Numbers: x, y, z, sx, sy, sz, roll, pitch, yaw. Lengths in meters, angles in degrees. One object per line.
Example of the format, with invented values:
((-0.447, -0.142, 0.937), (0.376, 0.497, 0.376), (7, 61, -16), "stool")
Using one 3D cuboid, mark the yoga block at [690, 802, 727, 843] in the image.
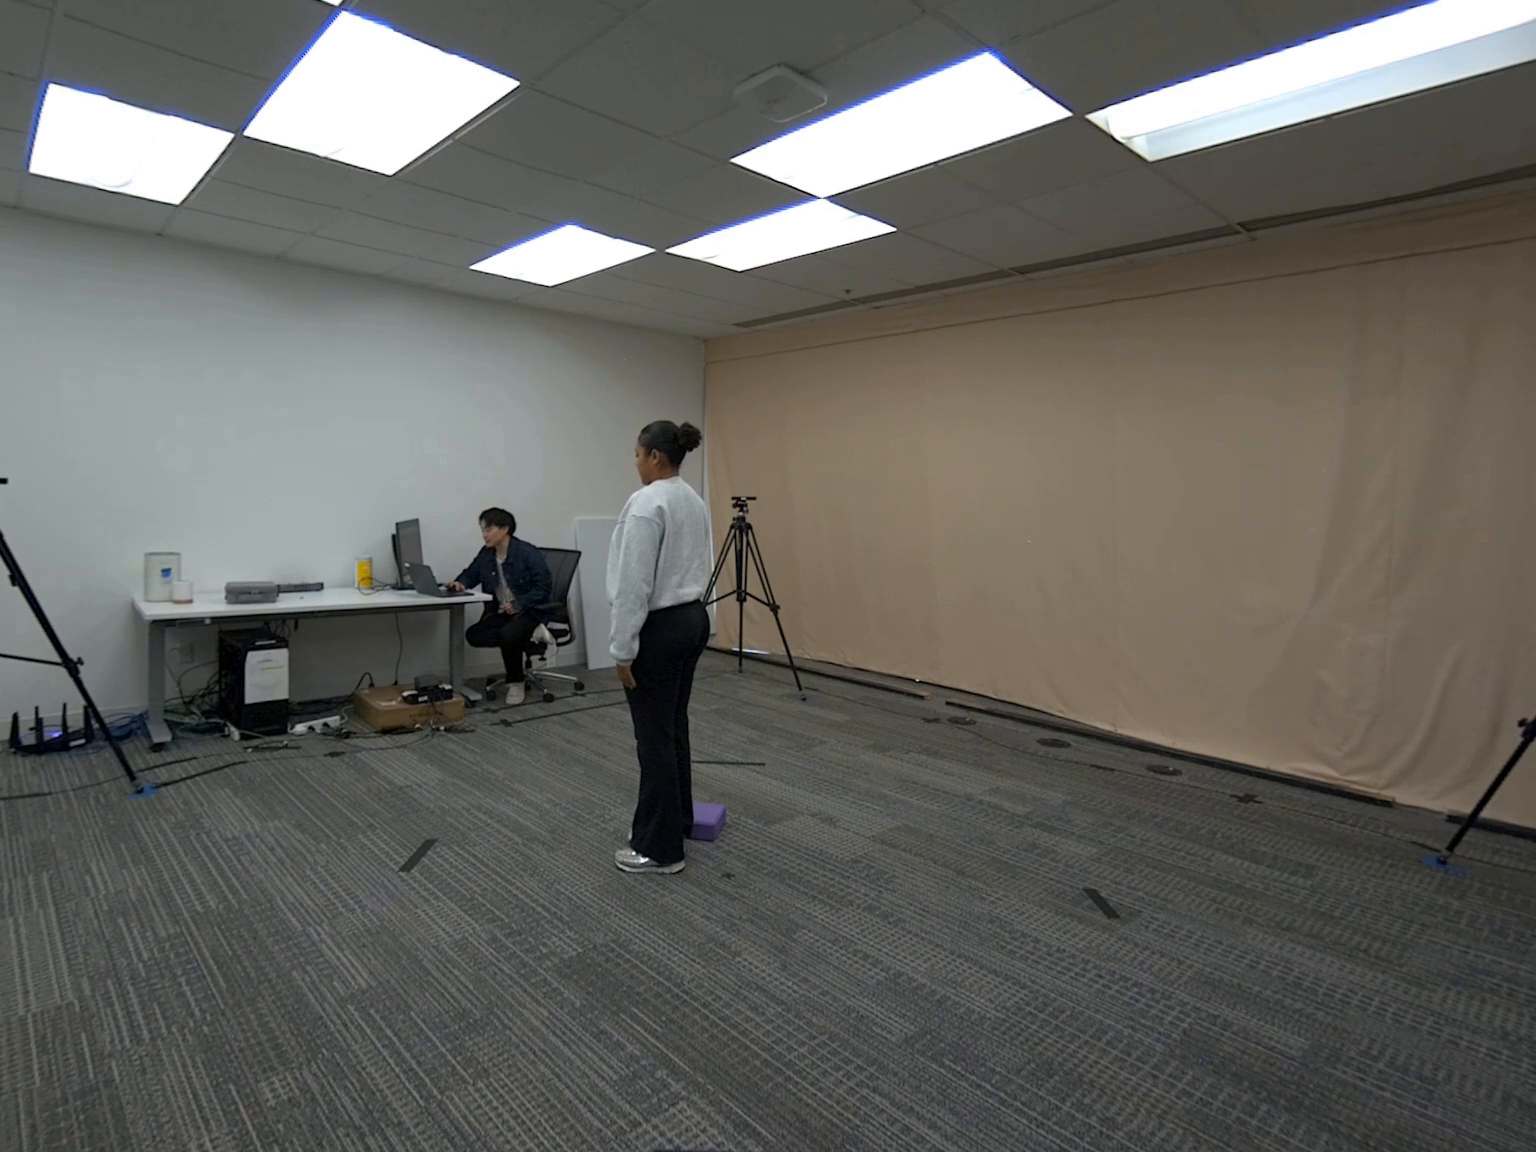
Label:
((-0.278, 1.021, 3.523), (0.150, 0.076, 0.228), (3, 5, 10), "yoga block")
